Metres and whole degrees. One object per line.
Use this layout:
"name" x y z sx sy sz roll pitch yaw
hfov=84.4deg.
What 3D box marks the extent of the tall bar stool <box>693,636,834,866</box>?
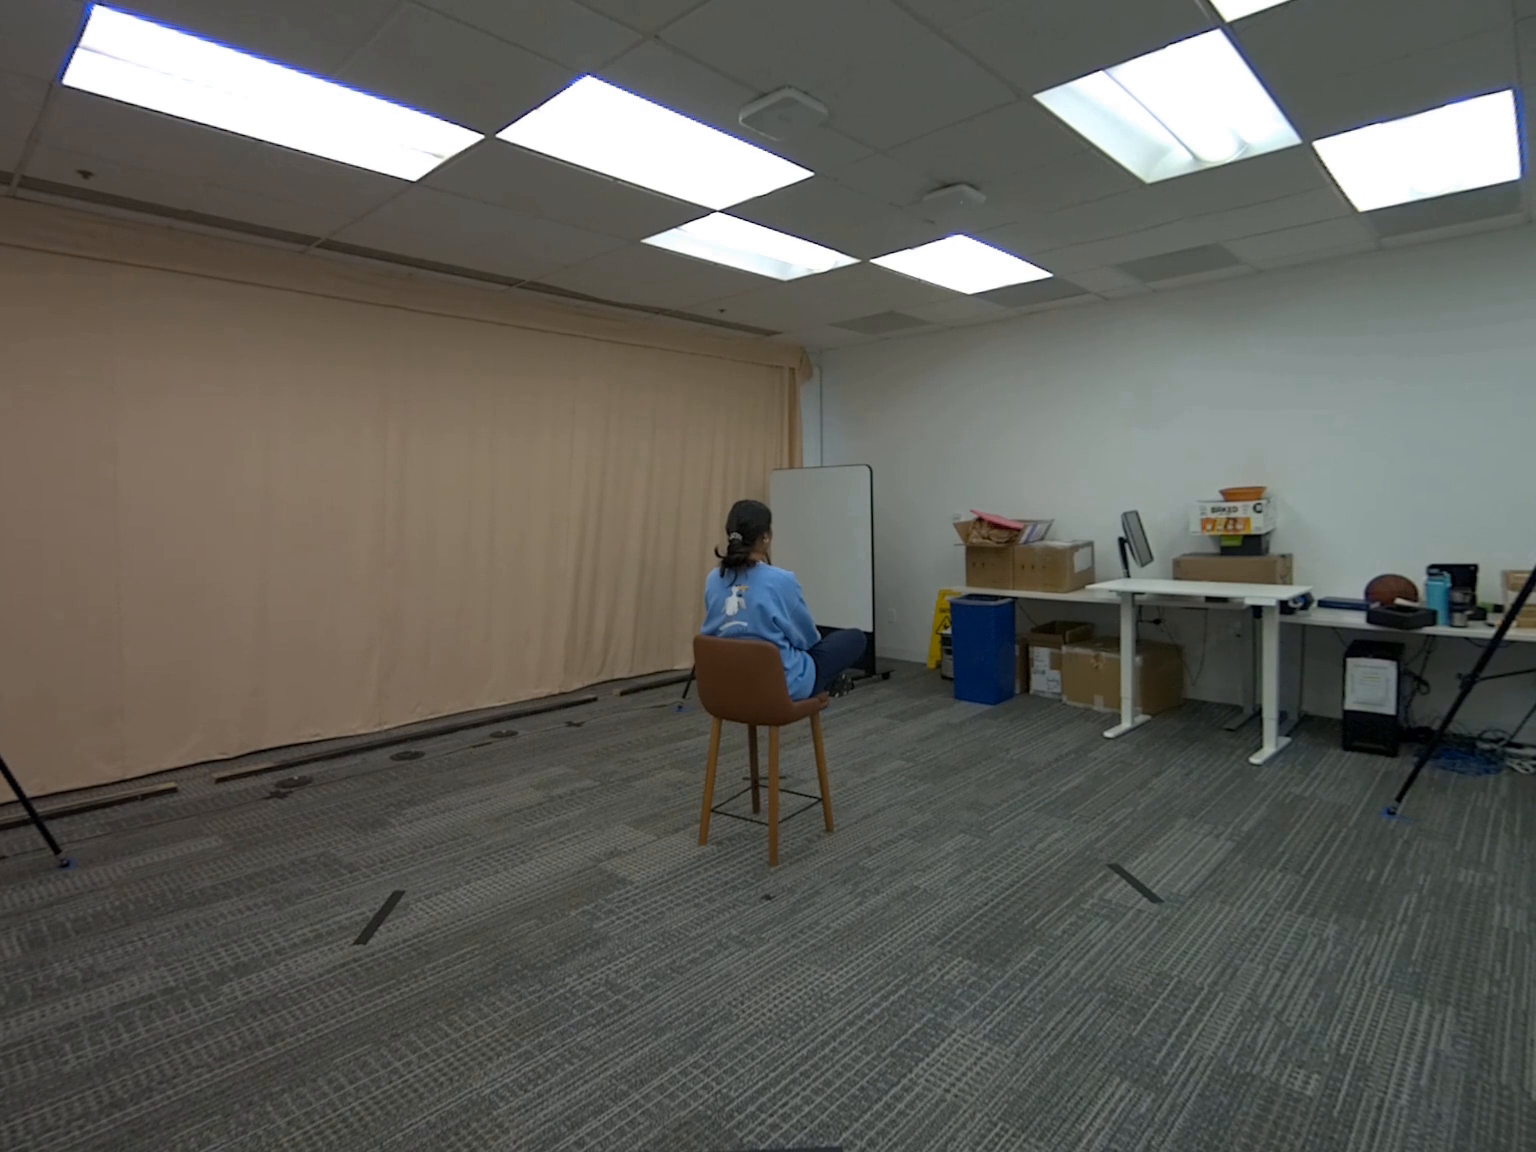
"tall bar stool" -0.021 0.661 3.497 0.471 0.887 0.454 1 5 35
